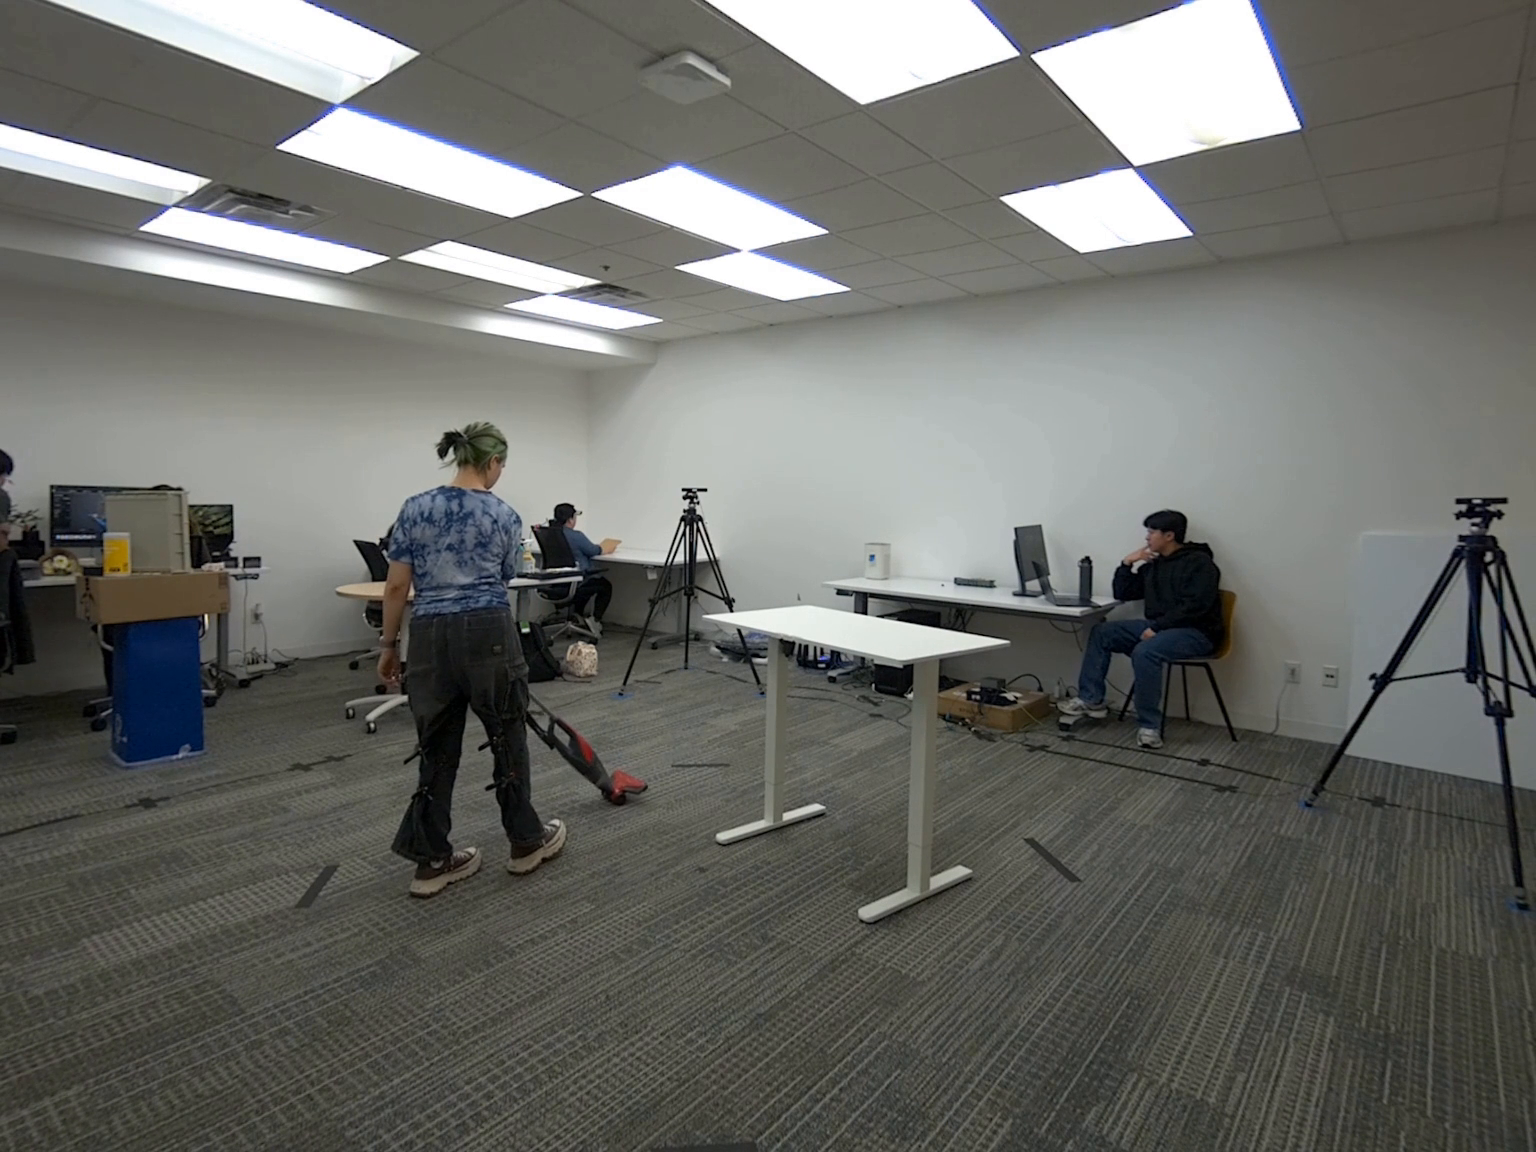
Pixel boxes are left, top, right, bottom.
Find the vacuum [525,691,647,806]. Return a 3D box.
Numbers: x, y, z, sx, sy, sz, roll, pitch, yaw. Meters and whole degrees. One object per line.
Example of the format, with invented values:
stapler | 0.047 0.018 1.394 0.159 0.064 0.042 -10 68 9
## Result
vacuum | -0.944 0.634 3.574 0.261 0.144 1.013 5 -38 53
